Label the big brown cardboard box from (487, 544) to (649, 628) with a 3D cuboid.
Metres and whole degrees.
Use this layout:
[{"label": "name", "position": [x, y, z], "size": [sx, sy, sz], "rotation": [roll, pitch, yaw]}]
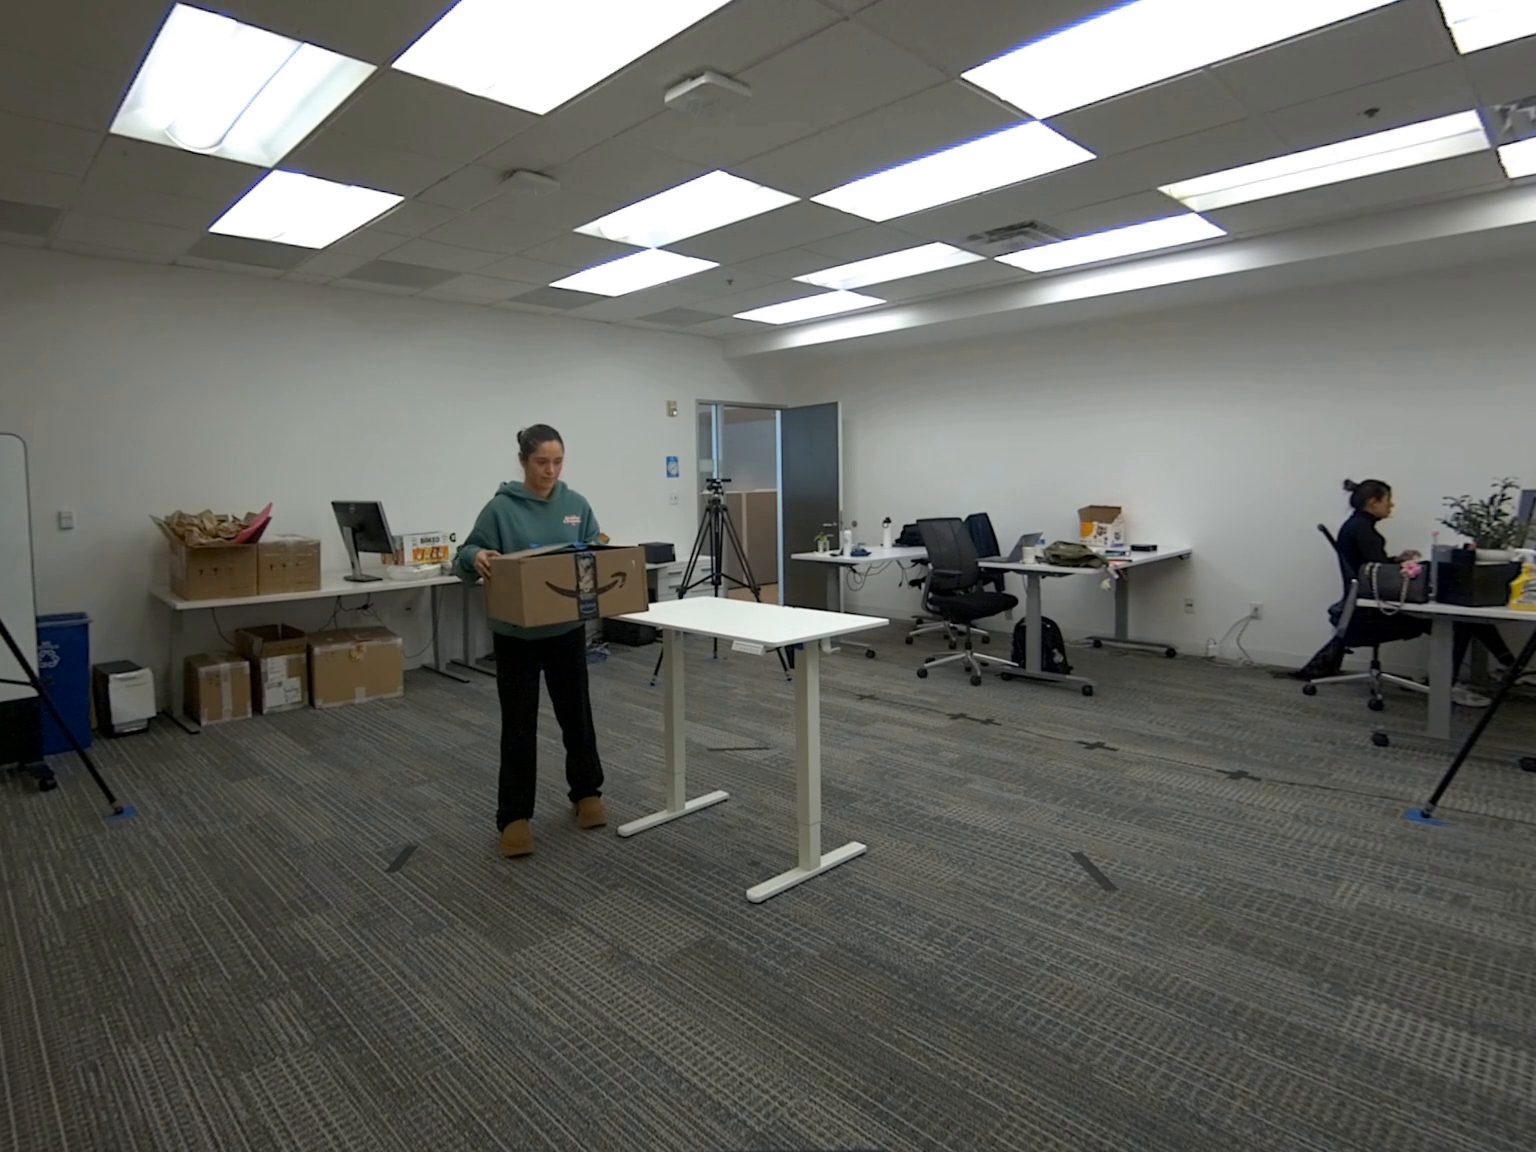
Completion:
[{"label": "big brown cardboard box", "position": [-0.711, 0.020, 2.944], "size": [0.408, 0.233, 0.602], "rotation": [-6, 3, -29]}]
